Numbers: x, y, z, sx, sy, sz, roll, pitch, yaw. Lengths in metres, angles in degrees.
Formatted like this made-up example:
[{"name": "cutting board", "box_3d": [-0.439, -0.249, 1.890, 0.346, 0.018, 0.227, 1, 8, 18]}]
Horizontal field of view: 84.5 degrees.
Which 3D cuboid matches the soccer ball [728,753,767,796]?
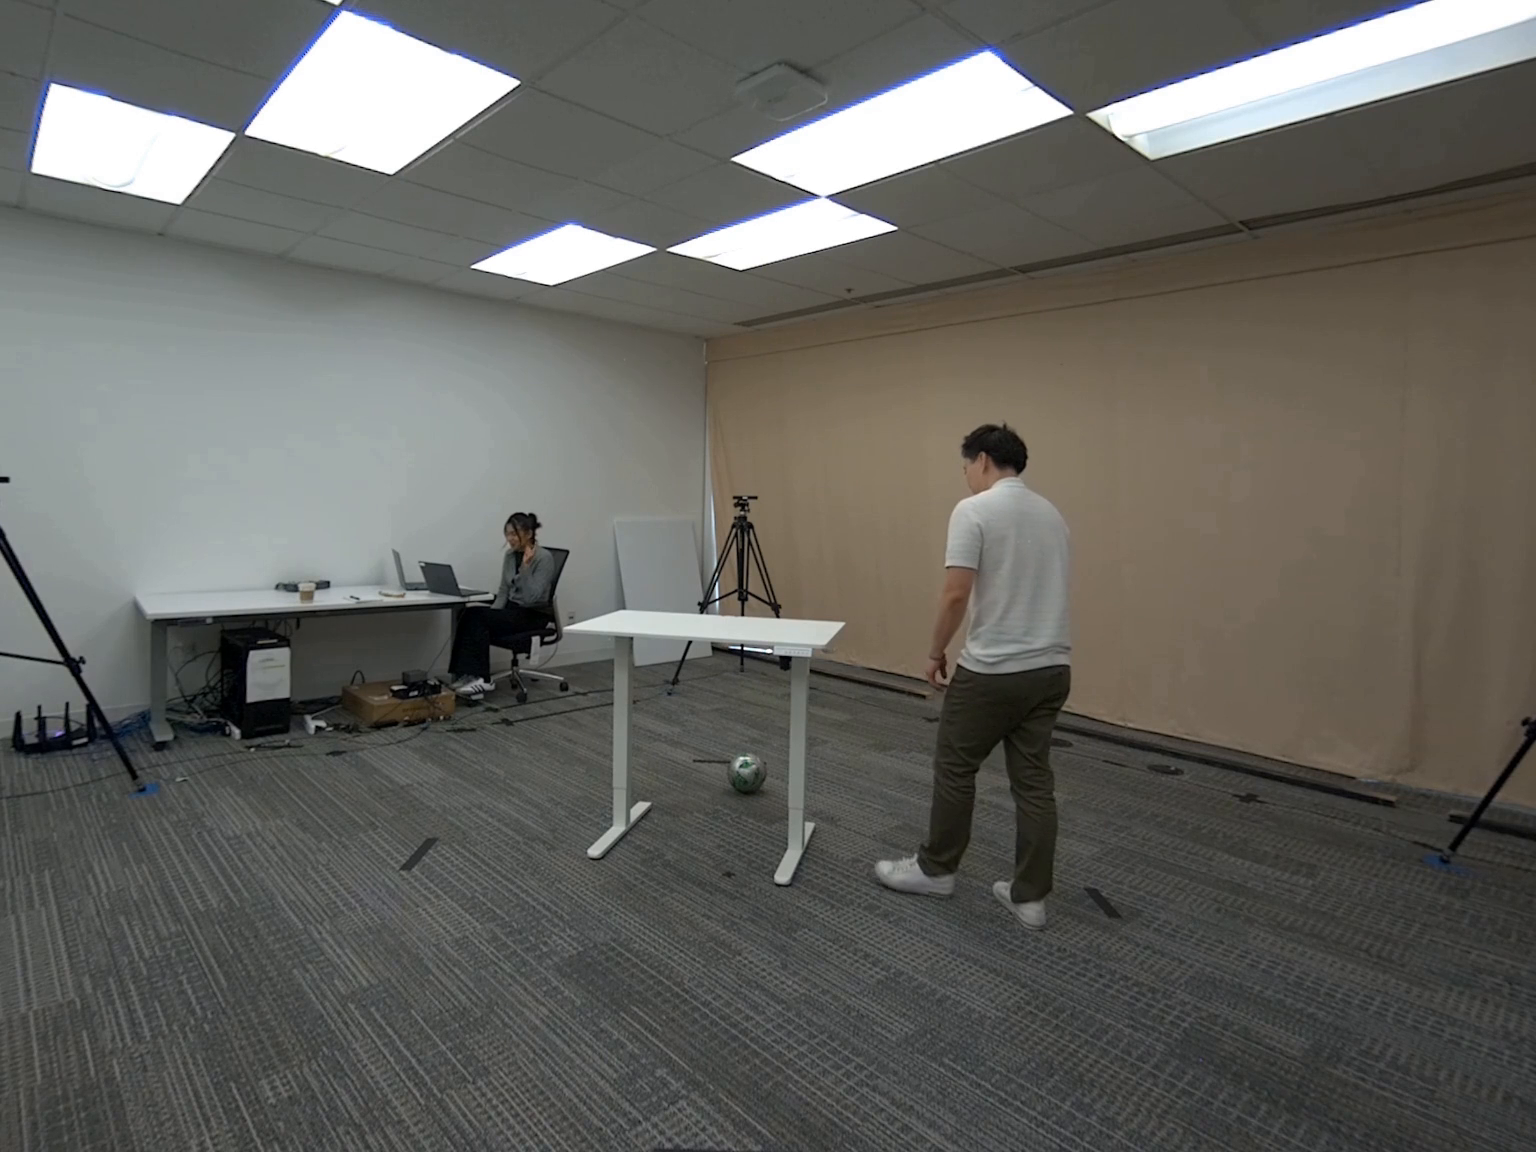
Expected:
[{"name": "soccer ball", "box_3d": [-0.117, 0.934, 3.996, 0.187, 0.187, 0.188, 1, 4, -1]}]
